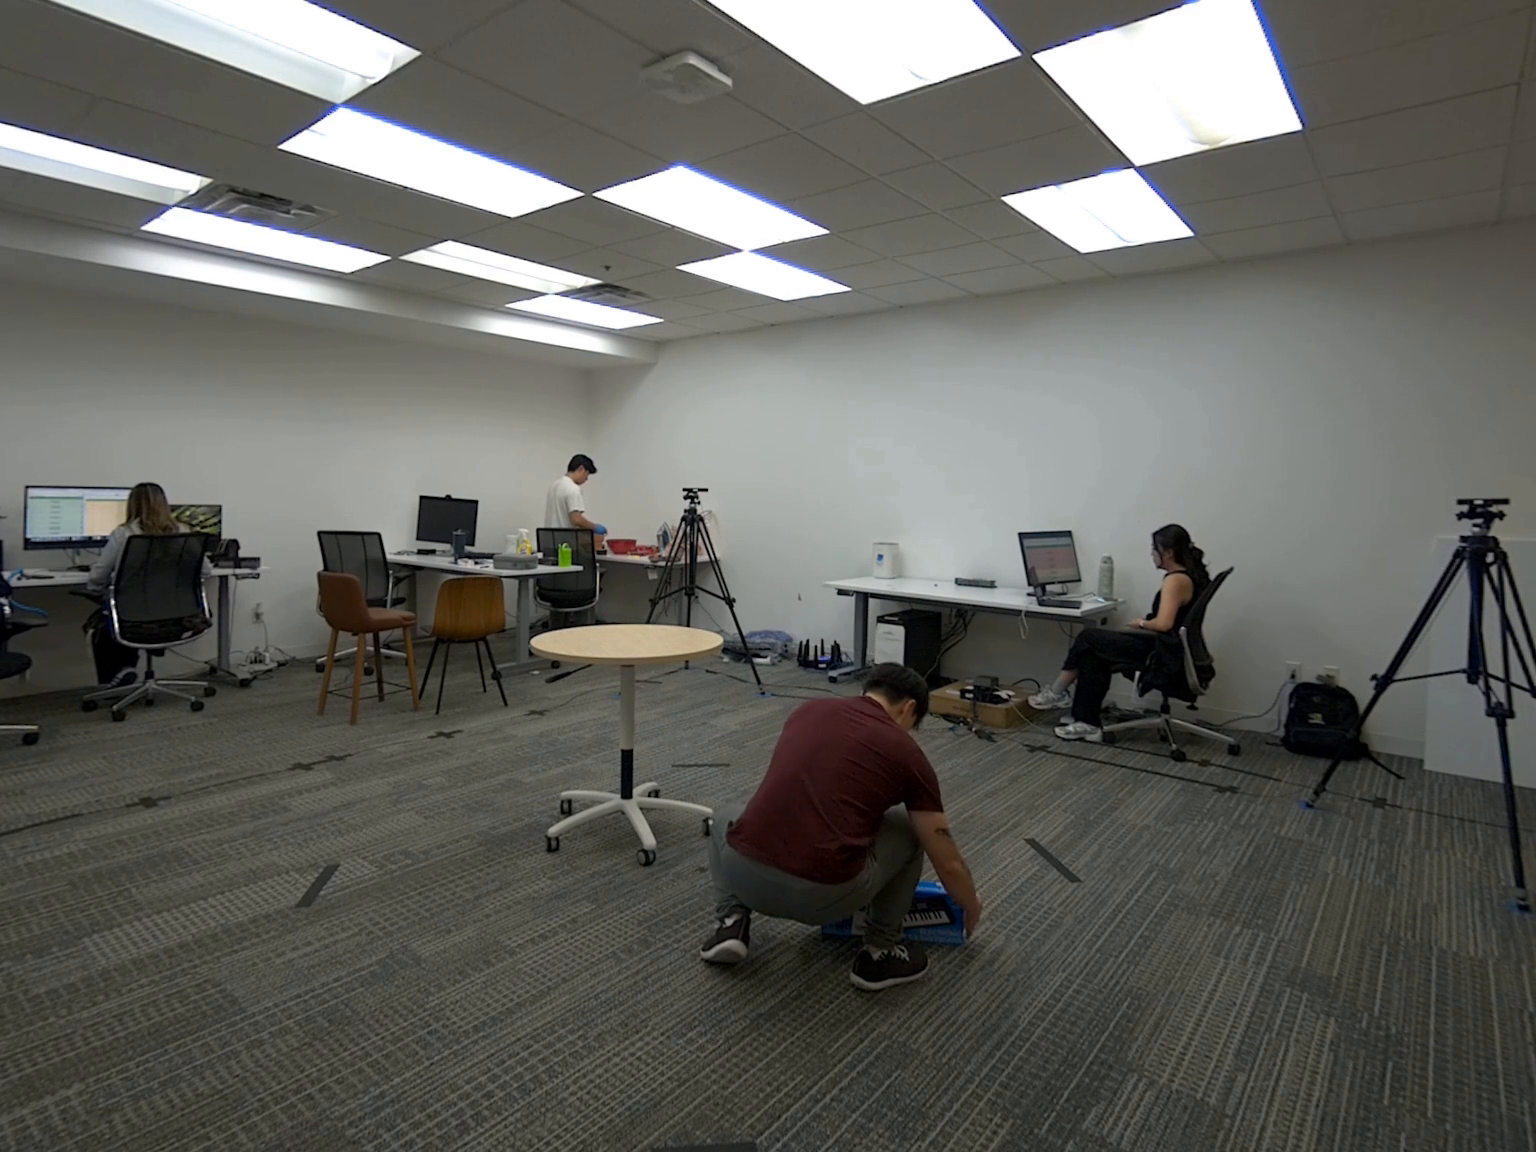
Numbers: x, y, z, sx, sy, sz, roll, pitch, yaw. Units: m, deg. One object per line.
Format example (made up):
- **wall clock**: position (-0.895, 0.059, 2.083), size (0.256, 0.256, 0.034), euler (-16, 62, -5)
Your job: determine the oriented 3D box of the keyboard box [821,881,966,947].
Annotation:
- **keyboard box**: position (0.389, 1.038, 2.655), size (0.439, 0.174, 0.059), euler (3, 9, 4)
